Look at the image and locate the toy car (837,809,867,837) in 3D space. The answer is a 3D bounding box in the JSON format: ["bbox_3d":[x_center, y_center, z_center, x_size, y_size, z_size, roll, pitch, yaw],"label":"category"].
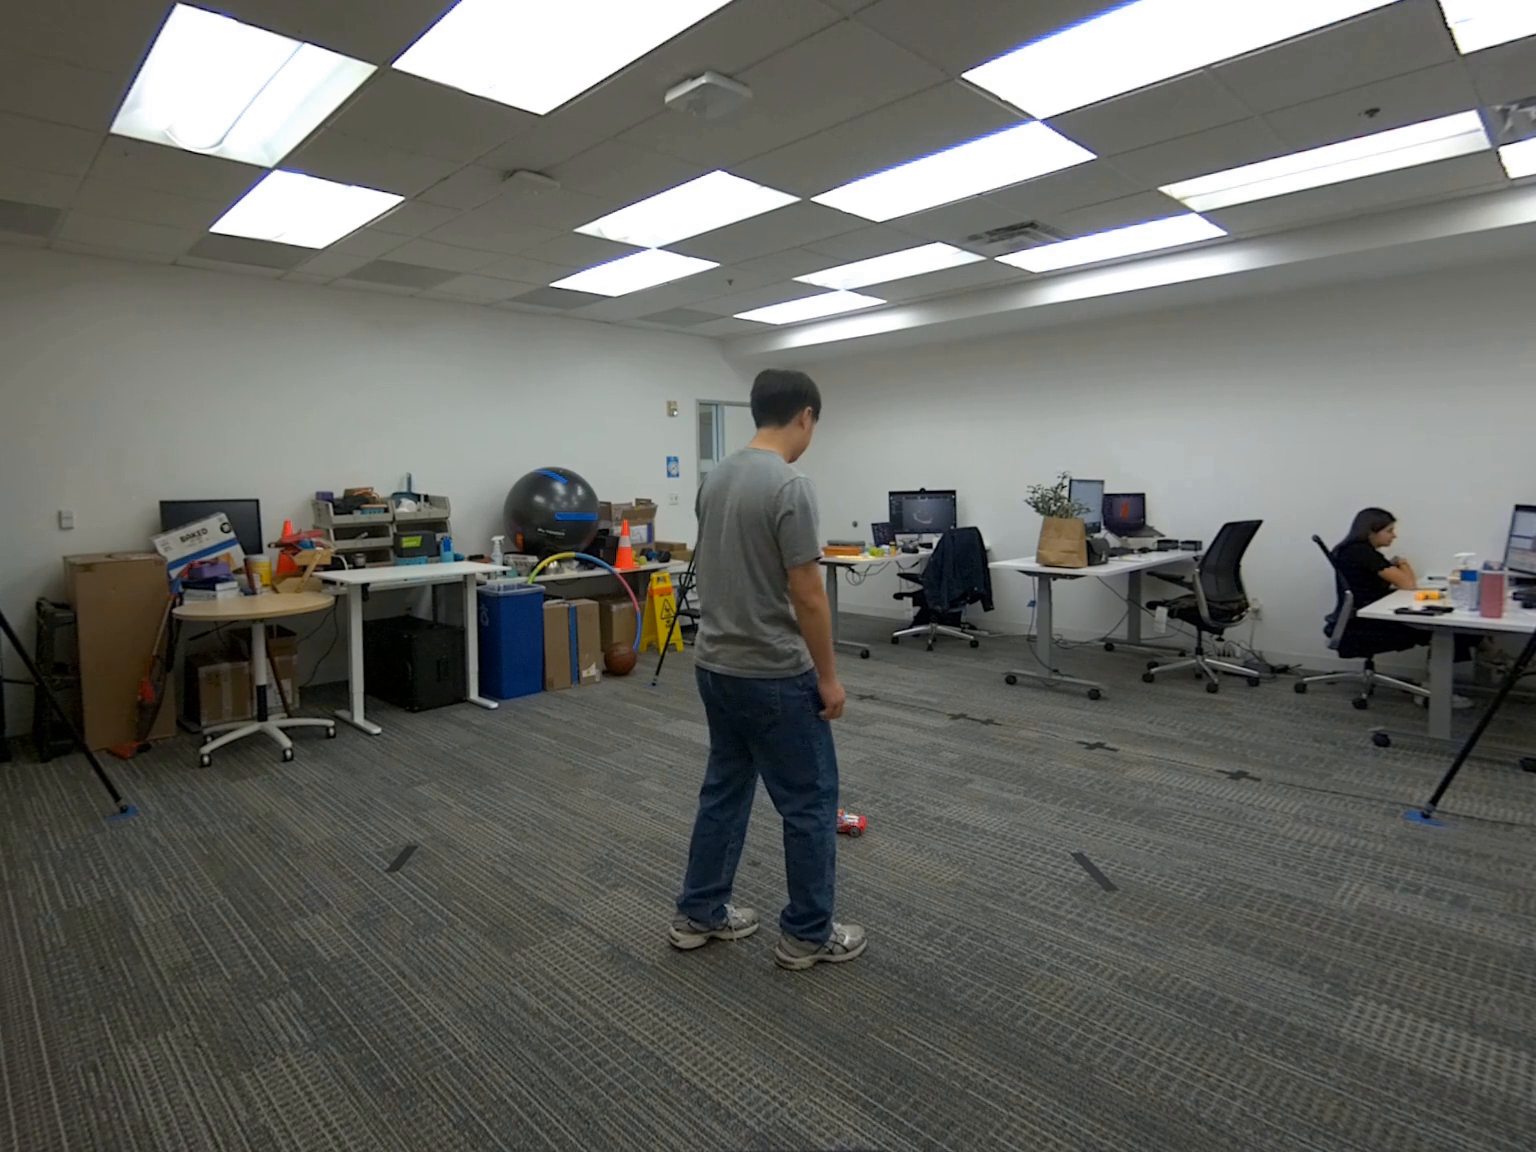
[{"bbox_3d":[0.267,0.977,3.400,0.260,0.083,0.128,12,9,18],"label":"toy car"}]
